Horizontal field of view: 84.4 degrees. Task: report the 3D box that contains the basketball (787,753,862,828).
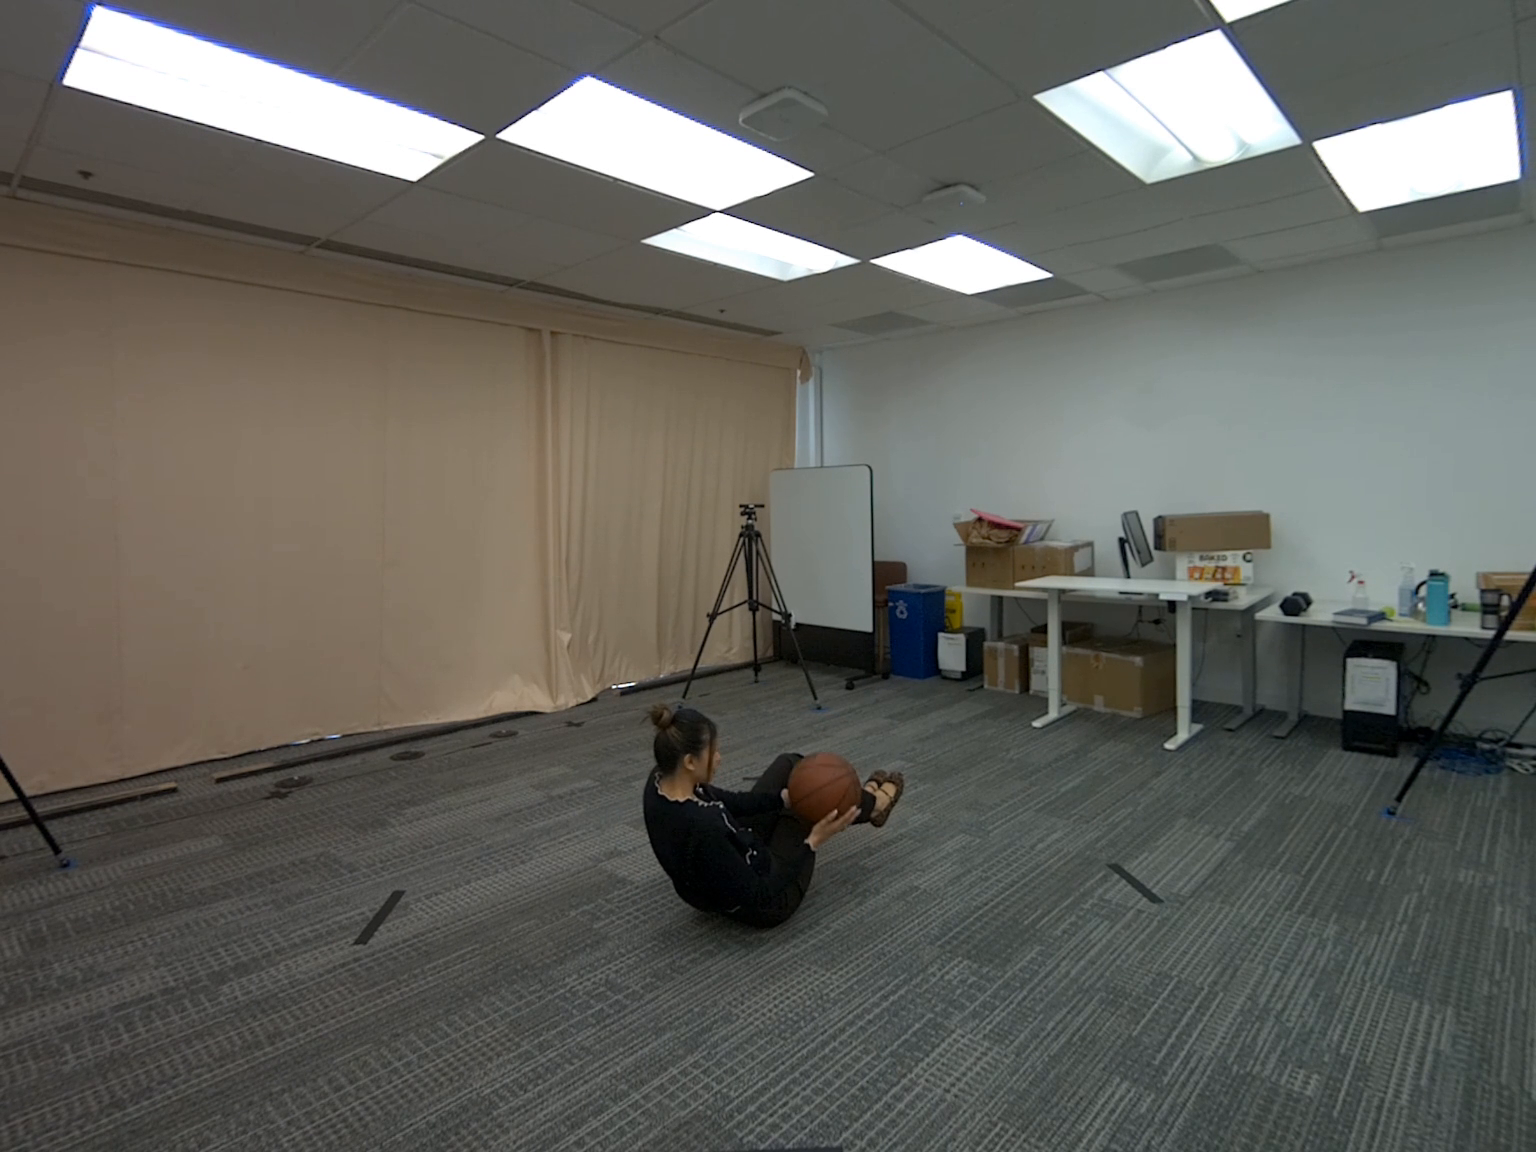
[{"bbox_3d":[0.171,0.702,2.706,0.236,0.235,0.237,-1,4,-2],"label":"basketball"}]
